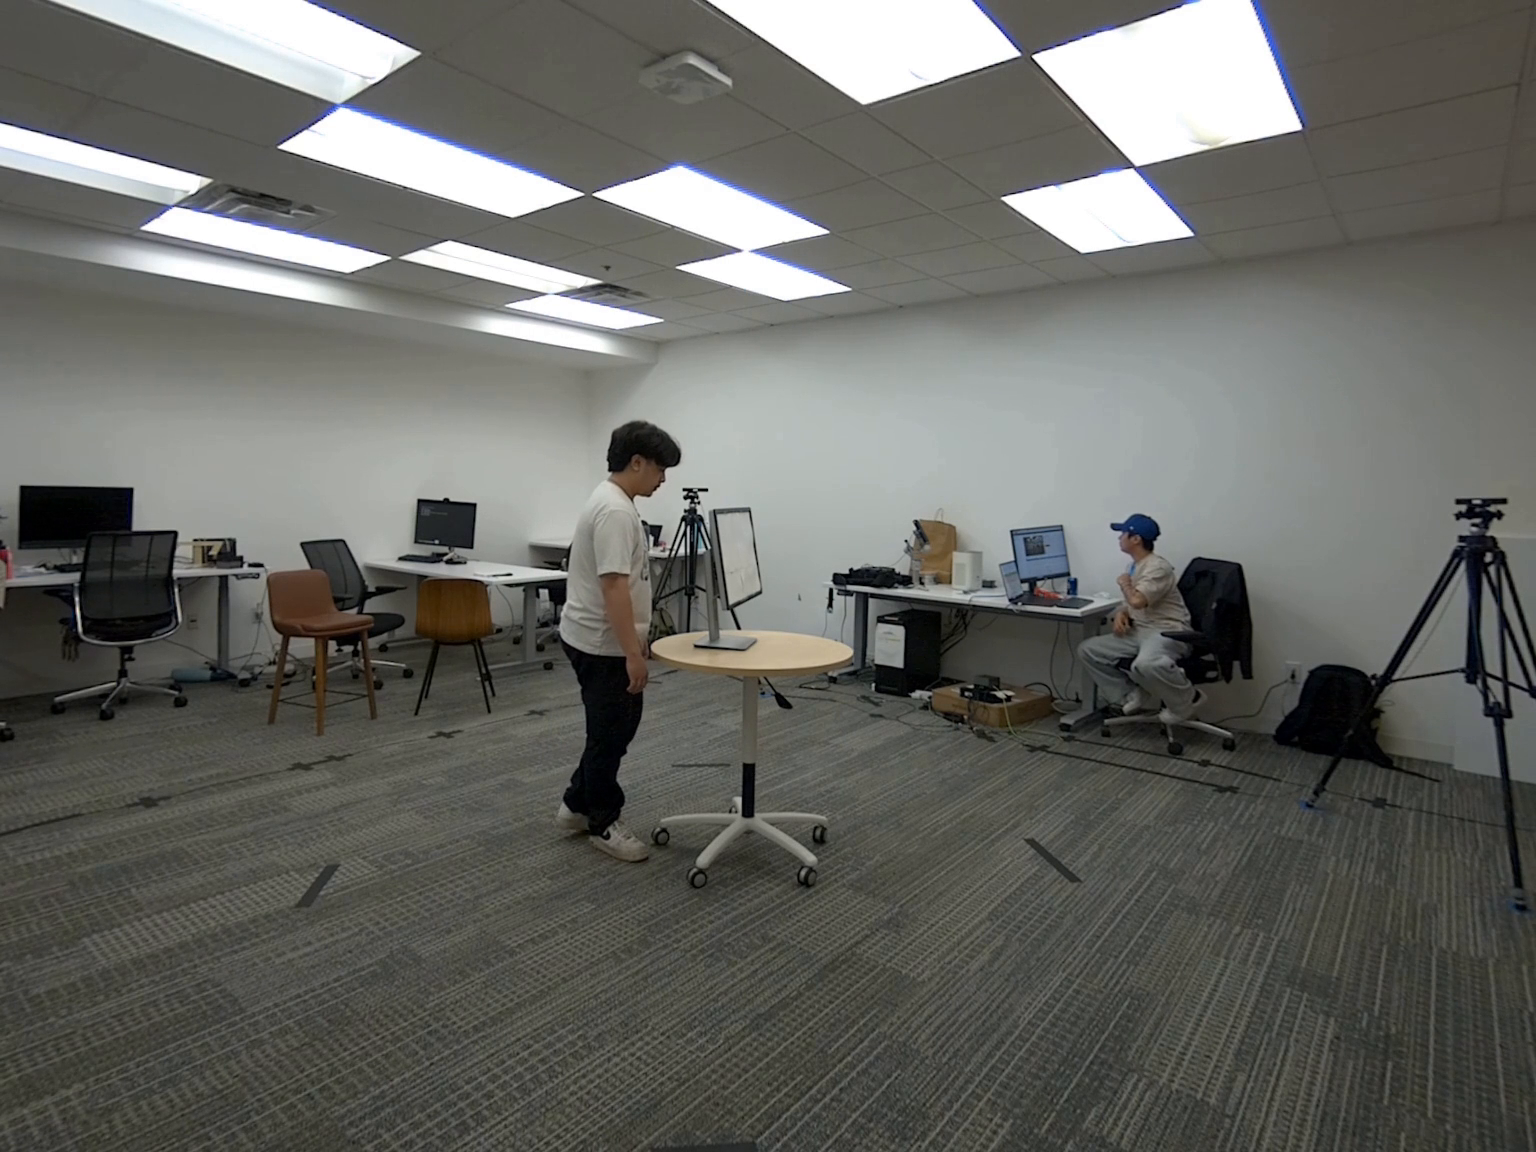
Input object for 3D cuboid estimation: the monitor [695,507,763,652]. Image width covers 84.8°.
[{"bbox_3d":[-0.192,0.007,3.296,0.213,0.553,0.558,-3,3,13],"label":"monitor"}]
